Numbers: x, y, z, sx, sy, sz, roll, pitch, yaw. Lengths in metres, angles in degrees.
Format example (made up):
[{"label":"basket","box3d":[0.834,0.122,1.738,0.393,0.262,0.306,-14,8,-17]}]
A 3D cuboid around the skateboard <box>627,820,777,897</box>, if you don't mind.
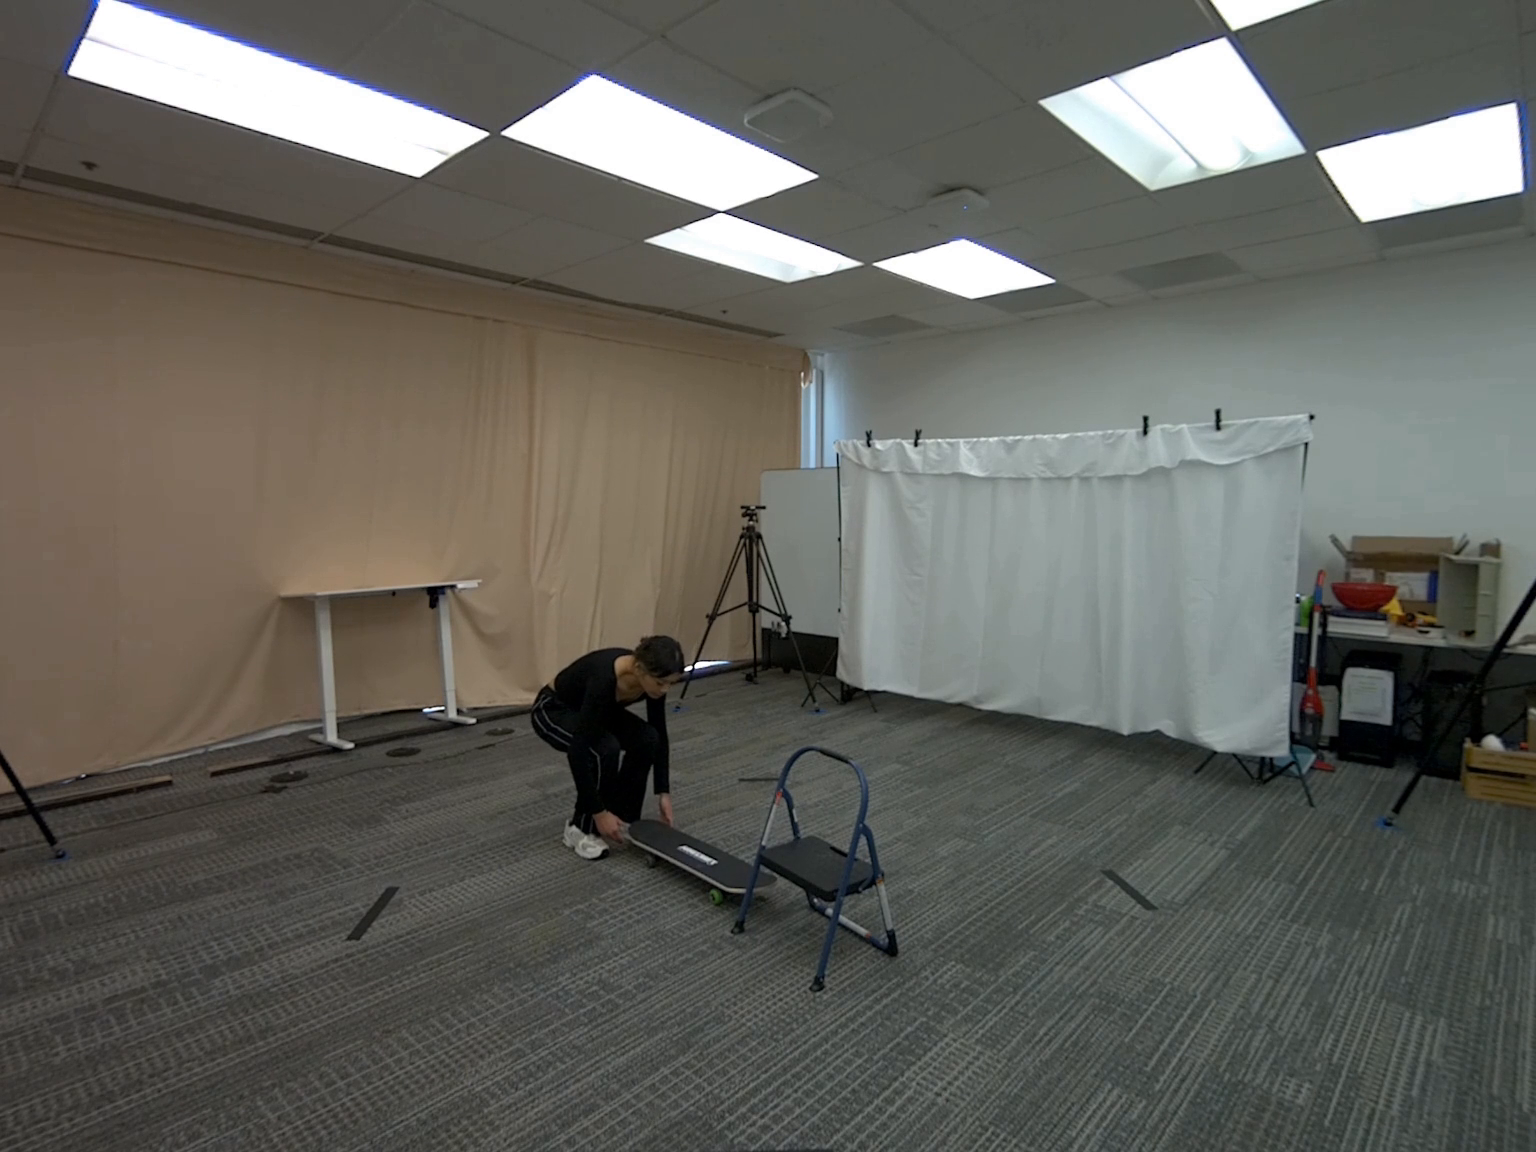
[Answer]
[{"label":"skateboard","box3d":[-0.263,1.078,3.148,0.187,0.110,0.811,-3,5,-42]}]
